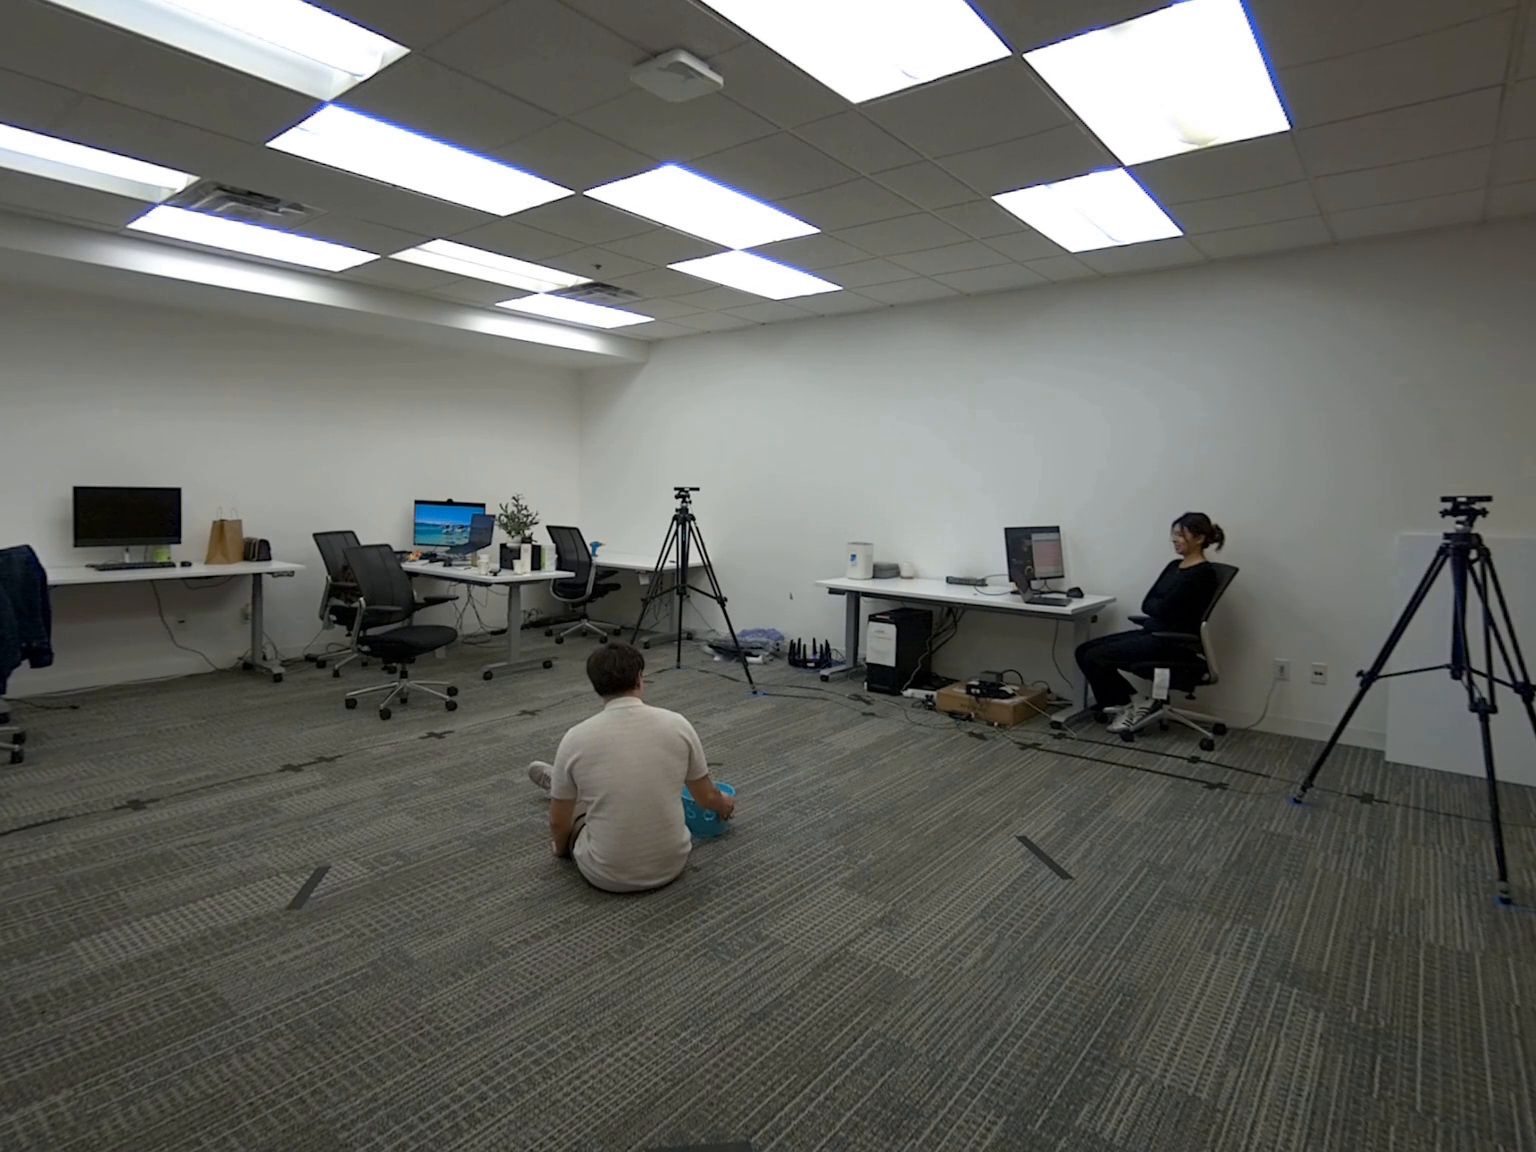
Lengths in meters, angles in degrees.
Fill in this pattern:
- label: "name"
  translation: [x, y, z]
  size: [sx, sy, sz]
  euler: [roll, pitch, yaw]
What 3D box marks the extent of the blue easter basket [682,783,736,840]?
- label: "blue easter basket"
  translation: [-0.253, 0.949, 3.484]
  size: [0.243, 0.155, 0.245]
  euler: [2, 6, -2]
